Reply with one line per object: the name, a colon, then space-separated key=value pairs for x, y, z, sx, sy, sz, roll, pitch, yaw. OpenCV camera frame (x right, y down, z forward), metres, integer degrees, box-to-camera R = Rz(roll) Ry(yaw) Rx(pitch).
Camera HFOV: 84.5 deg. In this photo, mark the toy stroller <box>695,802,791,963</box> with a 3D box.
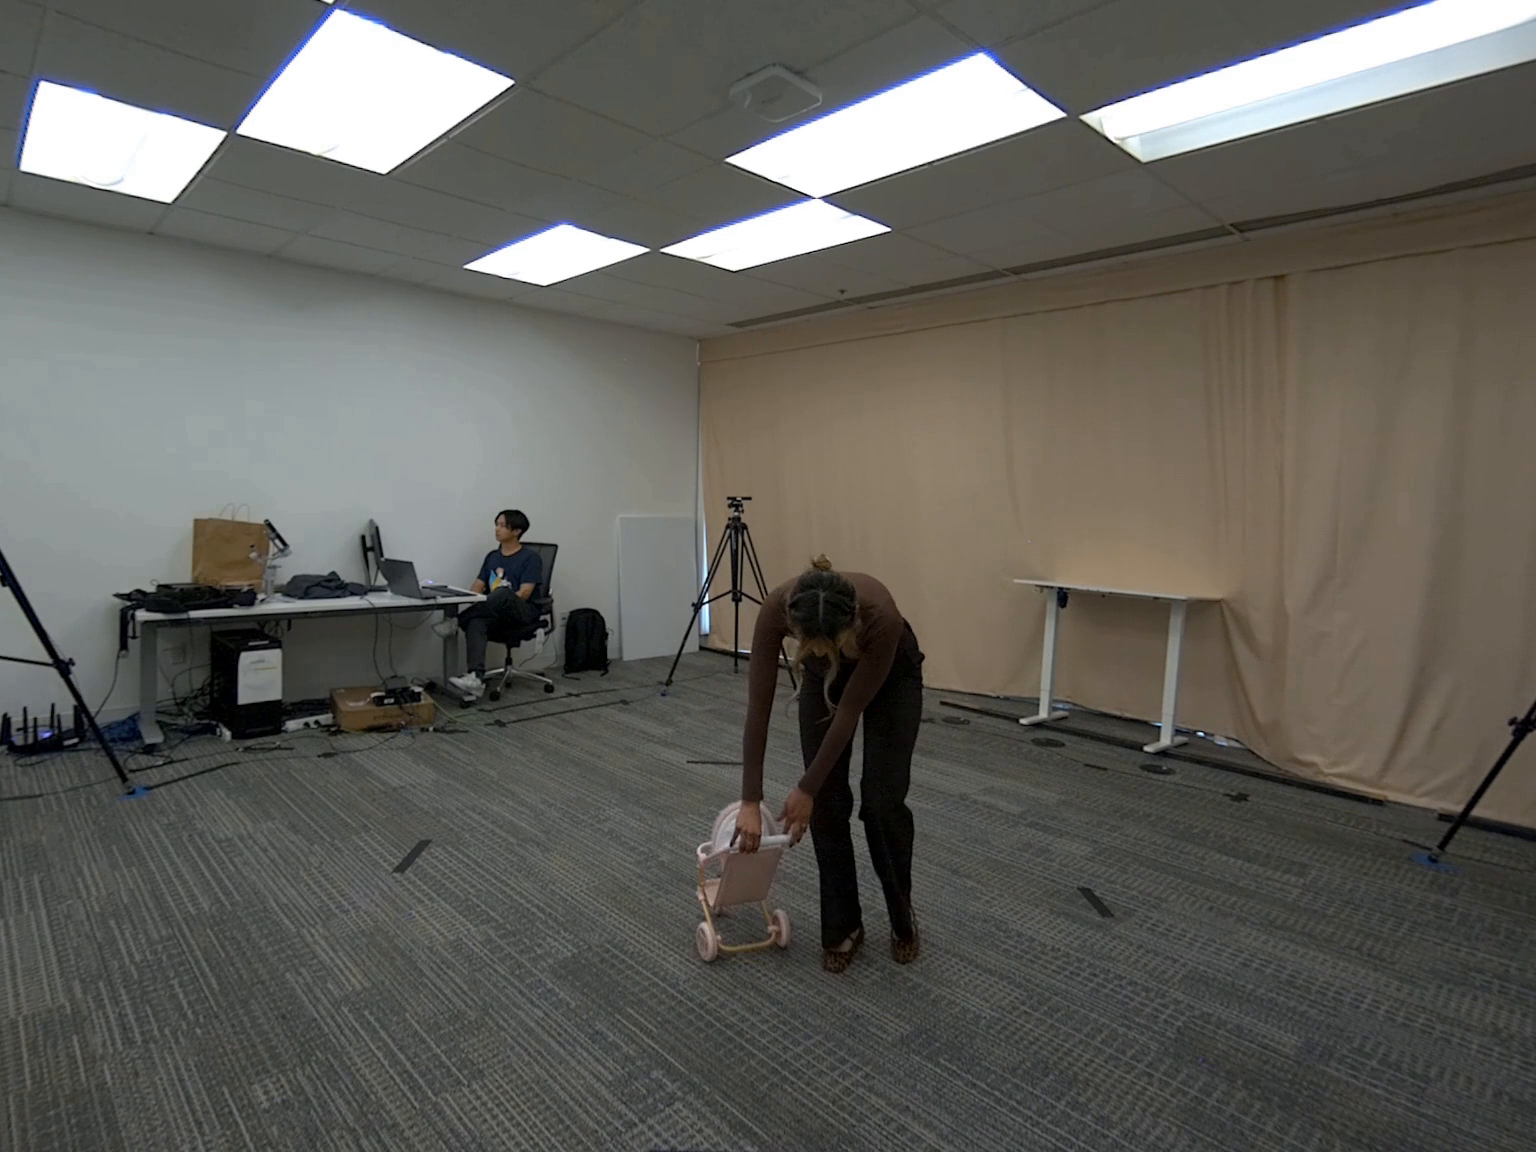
toy stroller: x=-0.090 y=0.921 z=2.626 sx=0.277 sy=0.529 sz=0.350 roll=2 pitch=21 yaw=-19
